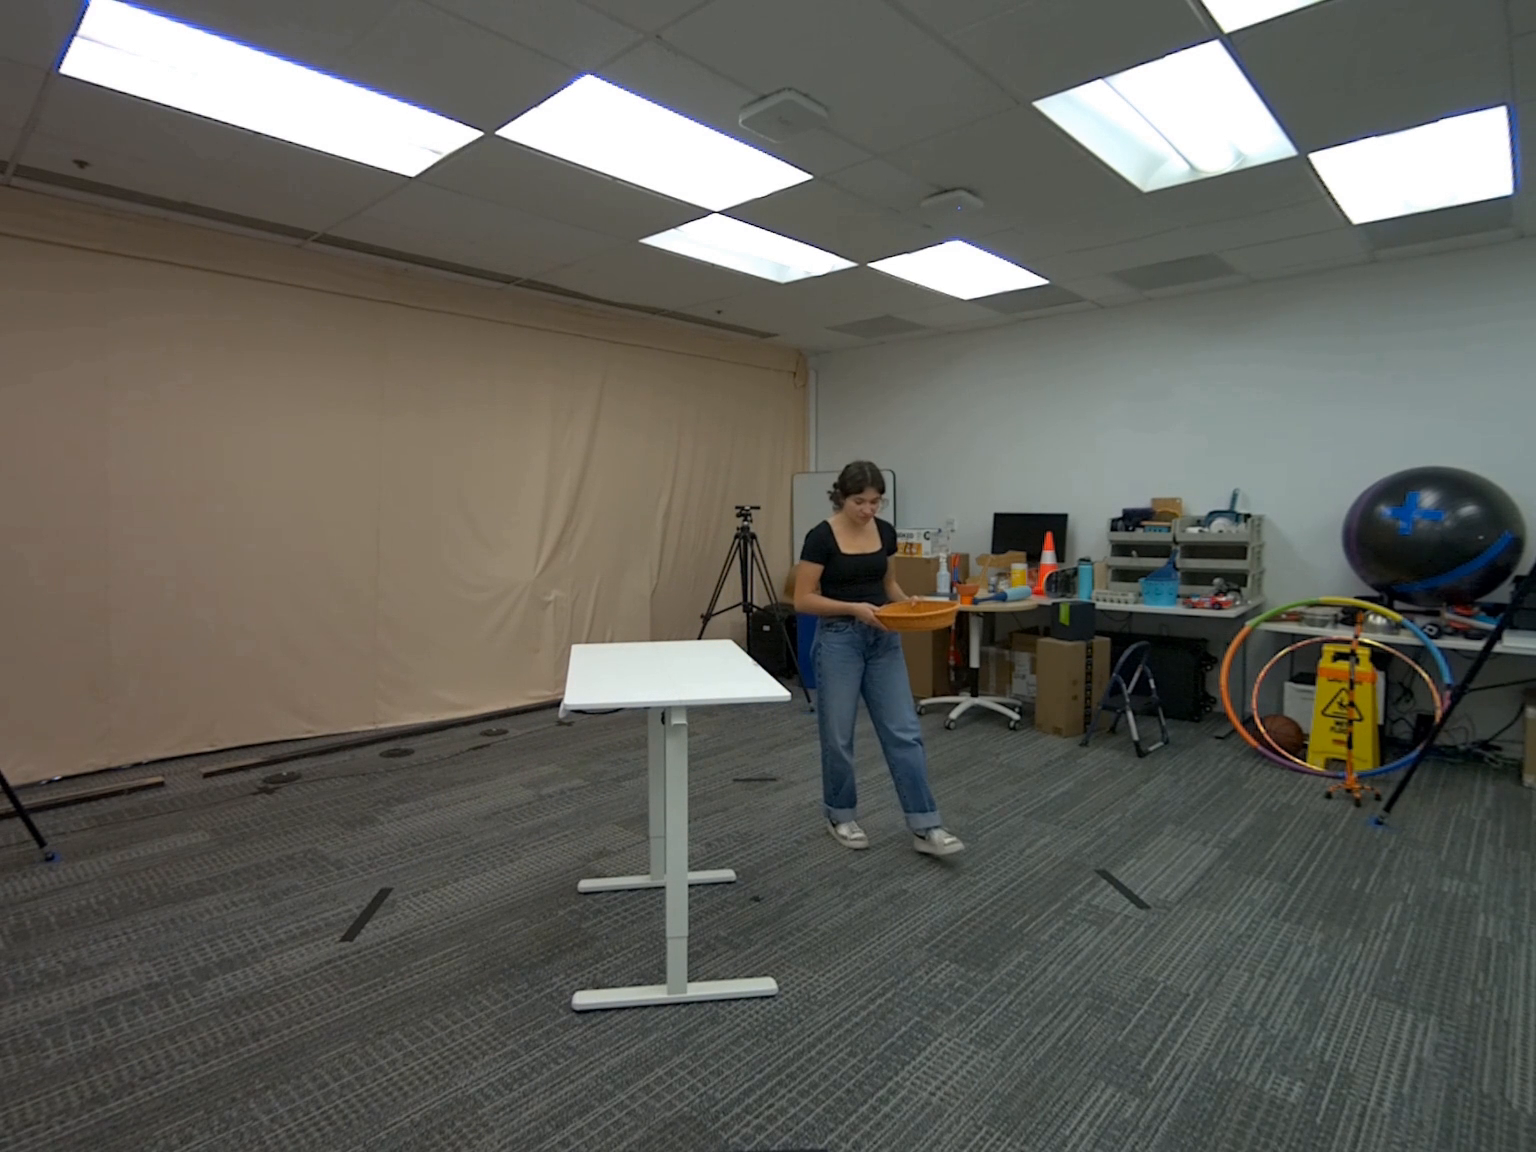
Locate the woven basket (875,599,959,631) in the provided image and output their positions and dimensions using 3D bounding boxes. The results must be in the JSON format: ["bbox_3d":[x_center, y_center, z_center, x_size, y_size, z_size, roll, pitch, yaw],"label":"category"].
[{"bbox_3d":[0.562,0.156,3.192,0.245,0.073,0.362,-14,10,-44],"label":"woven basket"}]
